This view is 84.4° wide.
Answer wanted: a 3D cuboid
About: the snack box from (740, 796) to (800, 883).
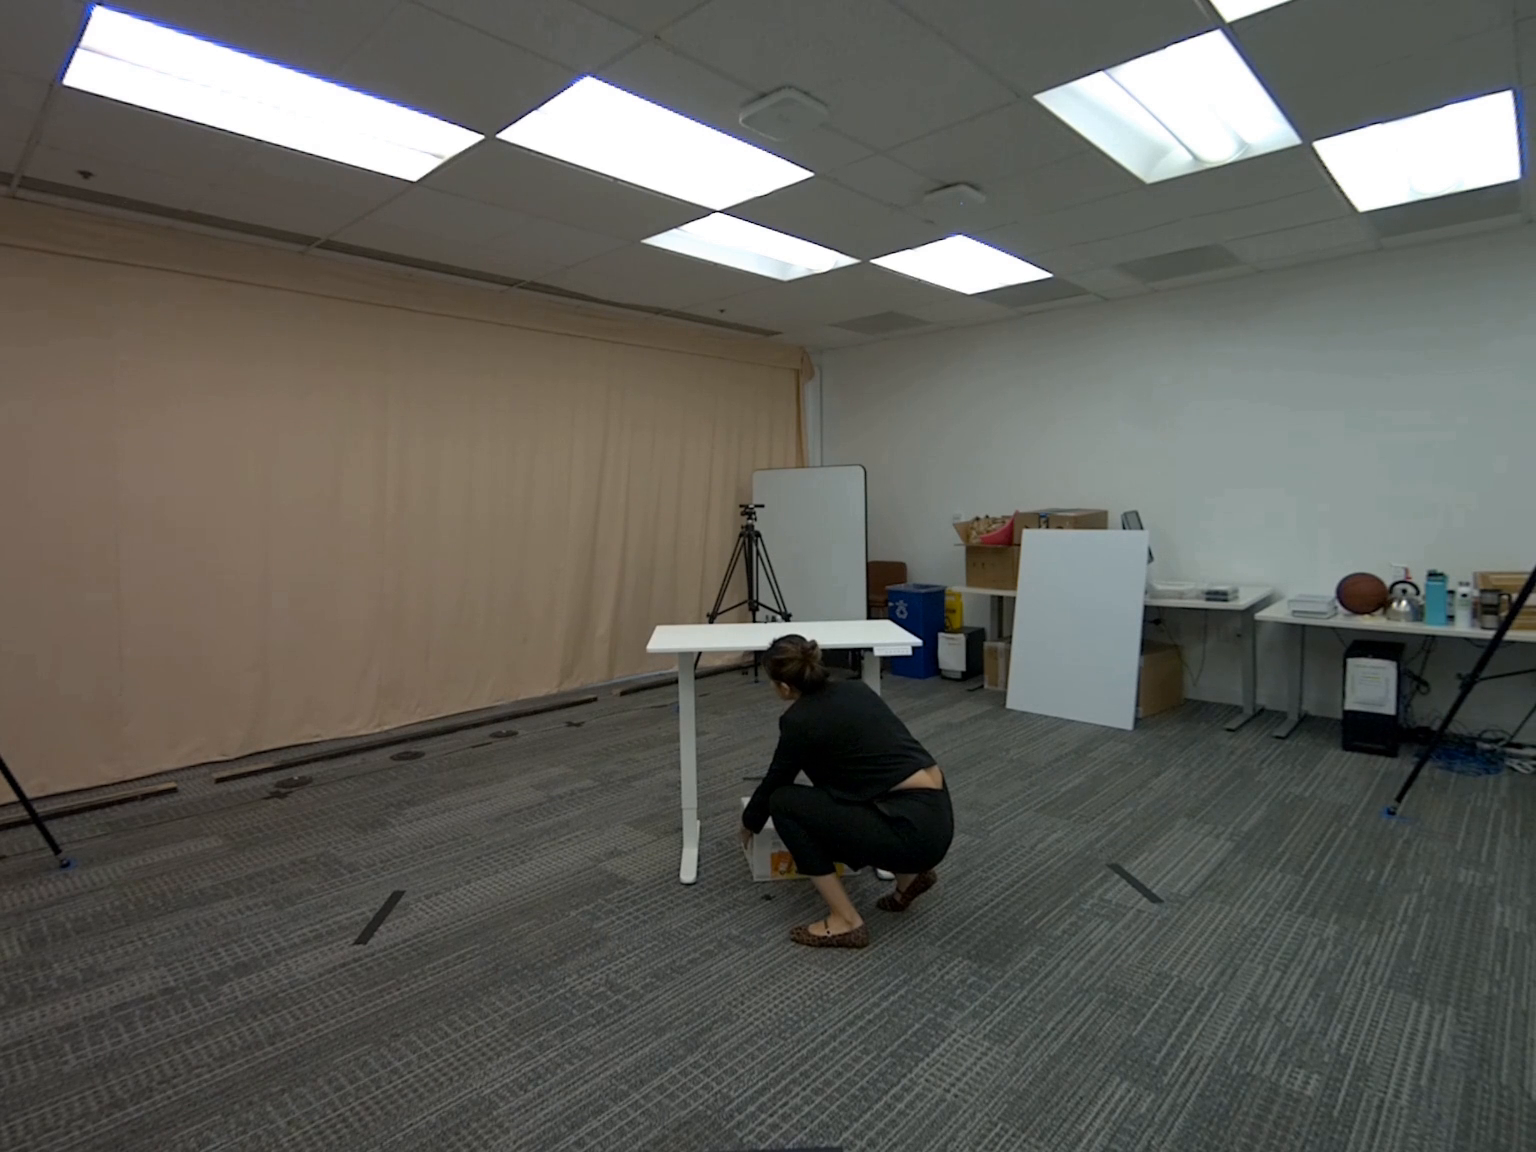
[{"bbox_3d":[0.122,1.011,3.271,0.402,0.205,0.344,-2,4,-9],"label":"snack box"}]
